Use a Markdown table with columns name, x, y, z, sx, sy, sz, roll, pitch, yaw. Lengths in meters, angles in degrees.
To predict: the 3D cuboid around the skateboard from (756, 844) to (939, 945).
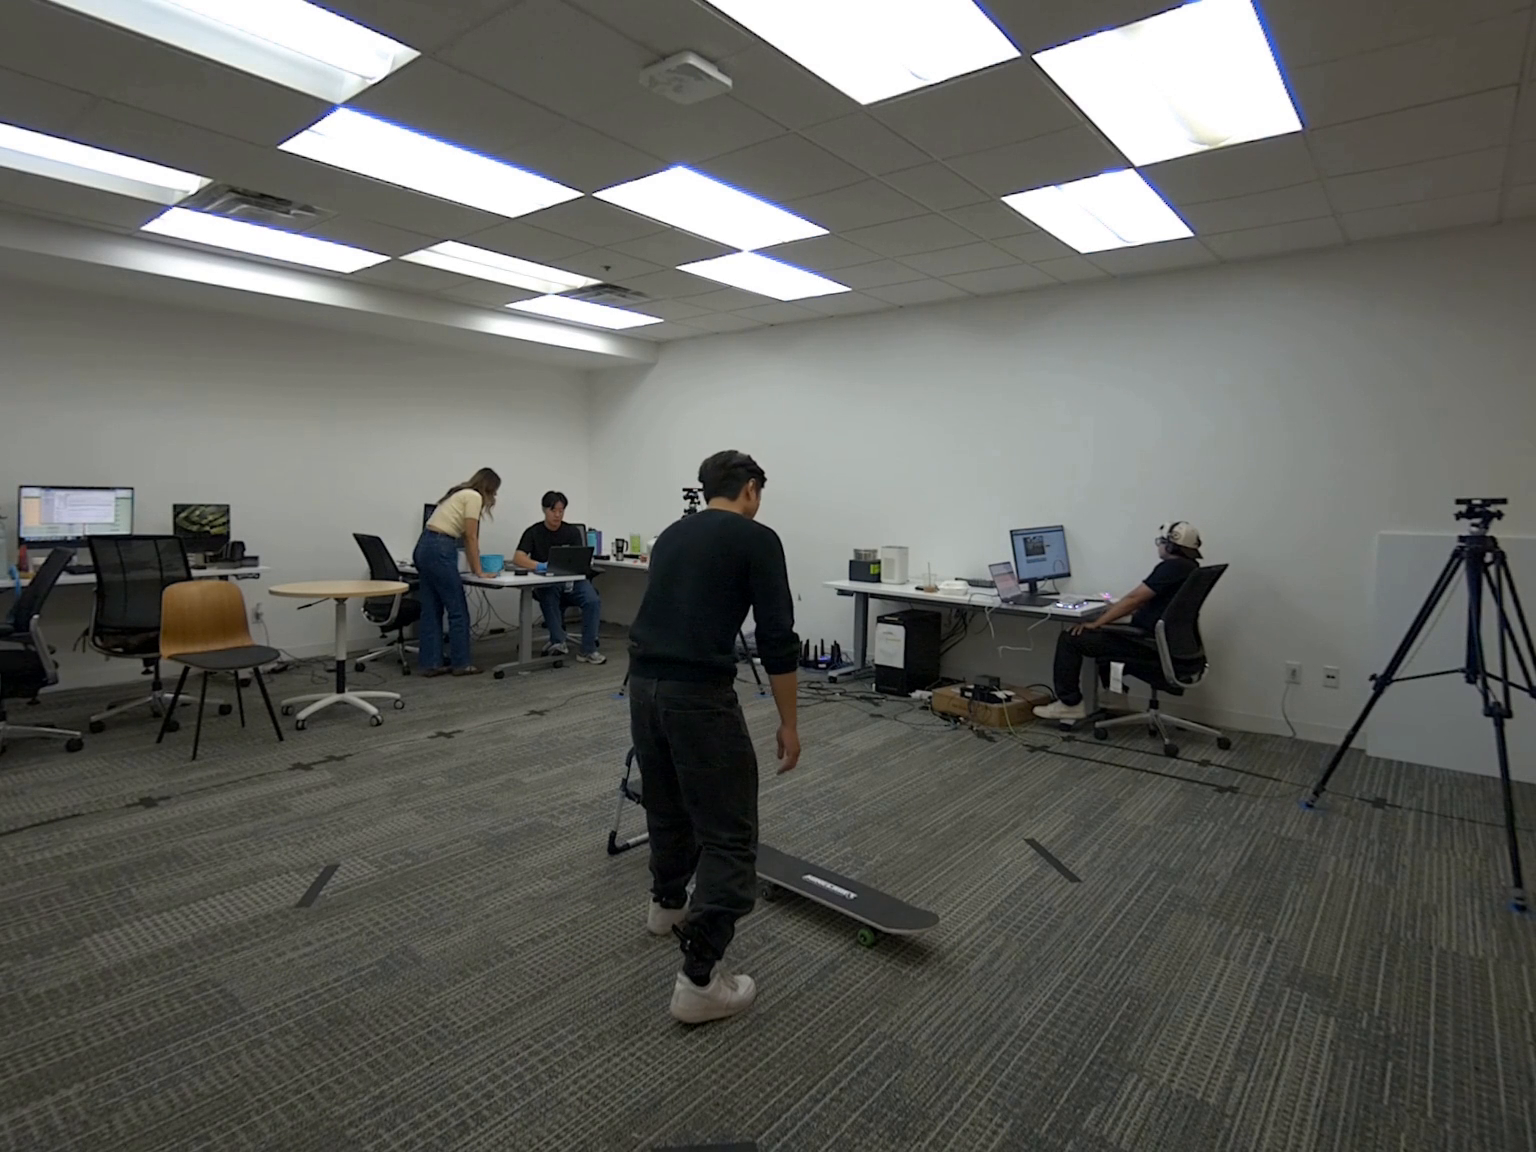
| name | x | y | z | sx | sy | sz | roll | pitch | yaw |
| --- | --- | --- | --- | --- | --- | --- | --- | --- | --- |
| skateboard | 0.192 | 1.051 | 2.802 | 0.813 | 0.110 | 0.187 | 6 | 7 | 42 |
